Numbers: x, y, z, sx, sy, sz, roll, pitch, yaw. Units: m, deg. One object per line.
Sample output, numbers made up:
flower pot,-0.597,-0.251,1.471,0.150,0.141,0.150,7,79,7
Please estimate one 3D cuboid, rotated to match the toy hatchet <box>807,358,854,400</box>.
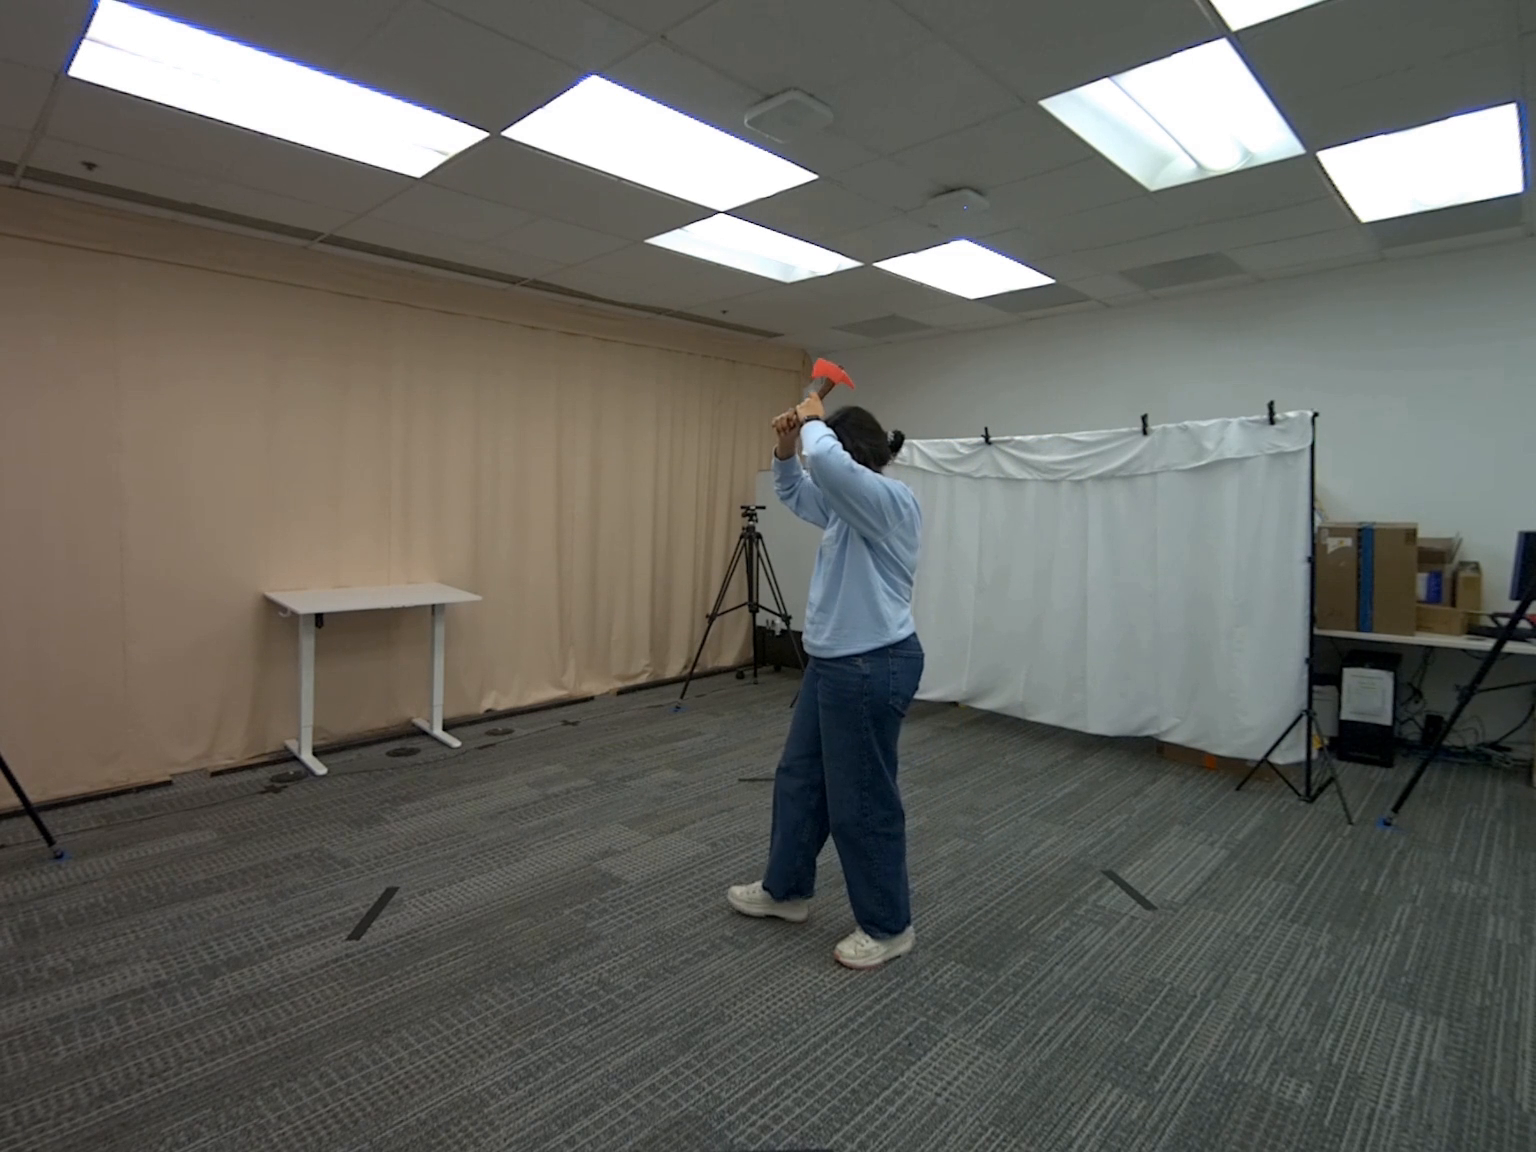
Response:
toy hatchet,0.119,-0.550,2.521,0.271,0.130,0.030,-33,9,10
